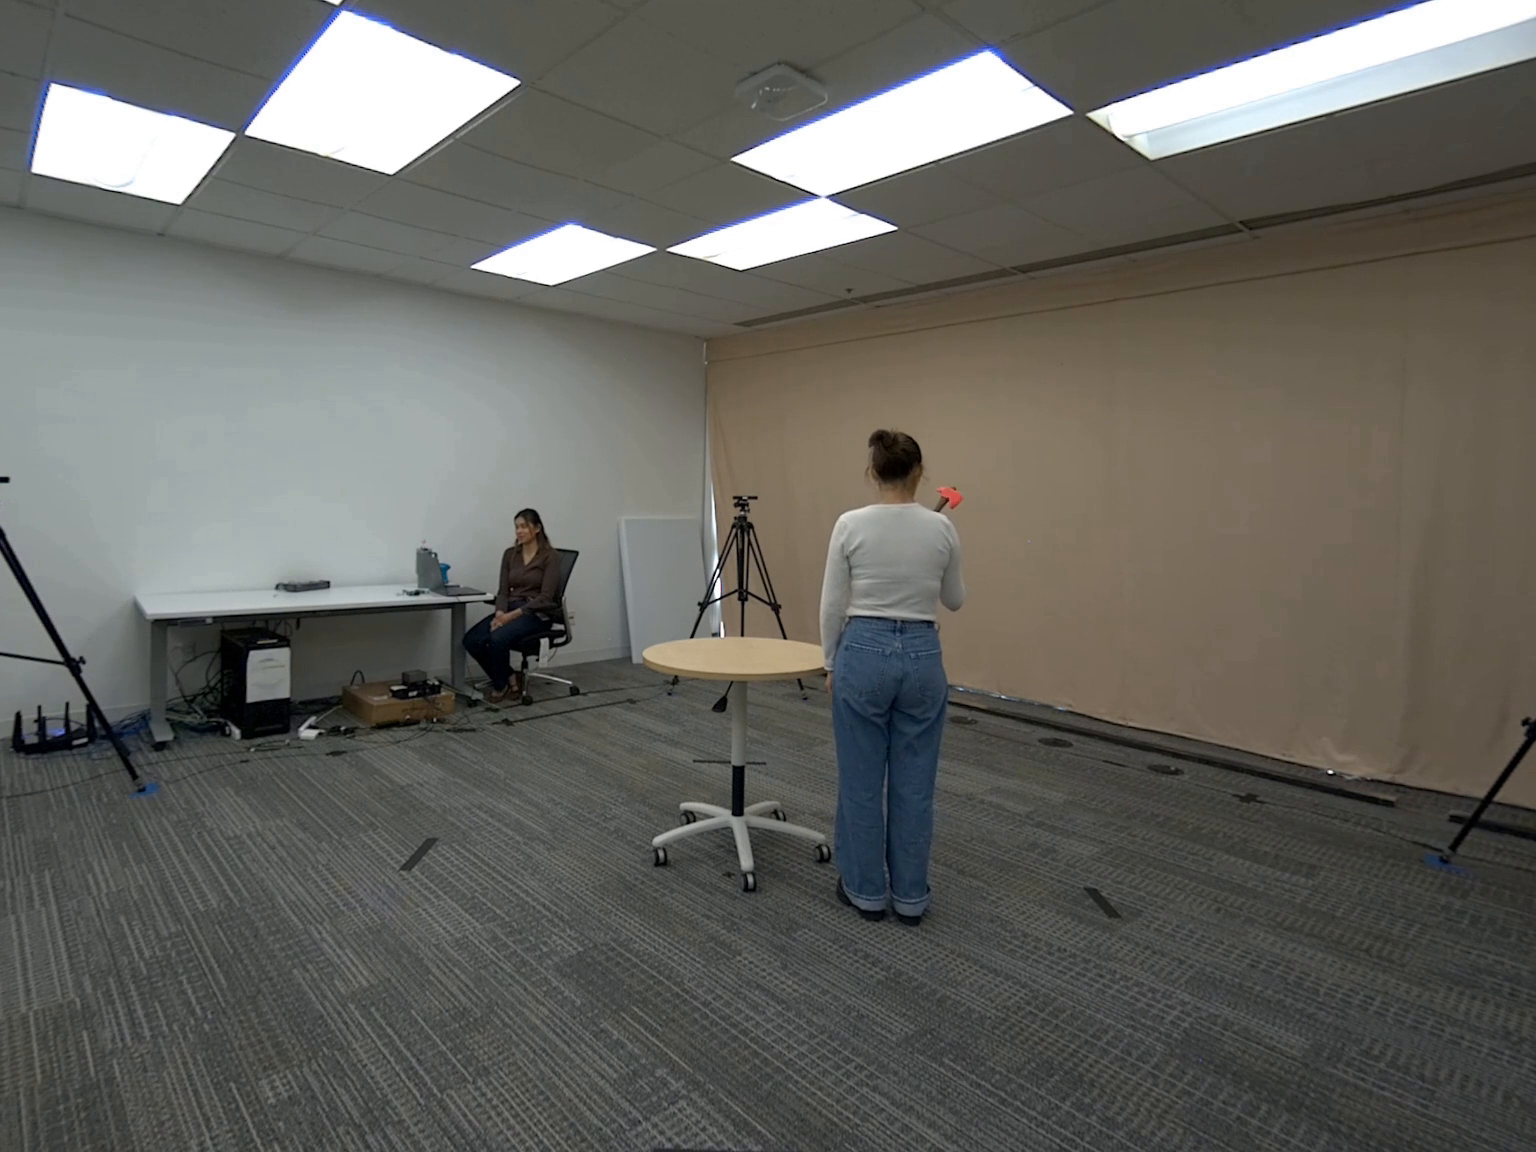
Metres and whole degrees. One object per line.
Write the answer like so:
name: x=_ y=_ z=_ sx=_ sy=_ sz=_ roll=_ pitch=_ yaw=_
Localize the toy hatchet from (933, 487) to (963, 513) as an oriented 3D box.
toy hatchet: x=0.627 y=-0.209 z=3.074 sx=0.134 sy=0.271 sz=0.029 roll=6 pitch=-30 yaw=47
